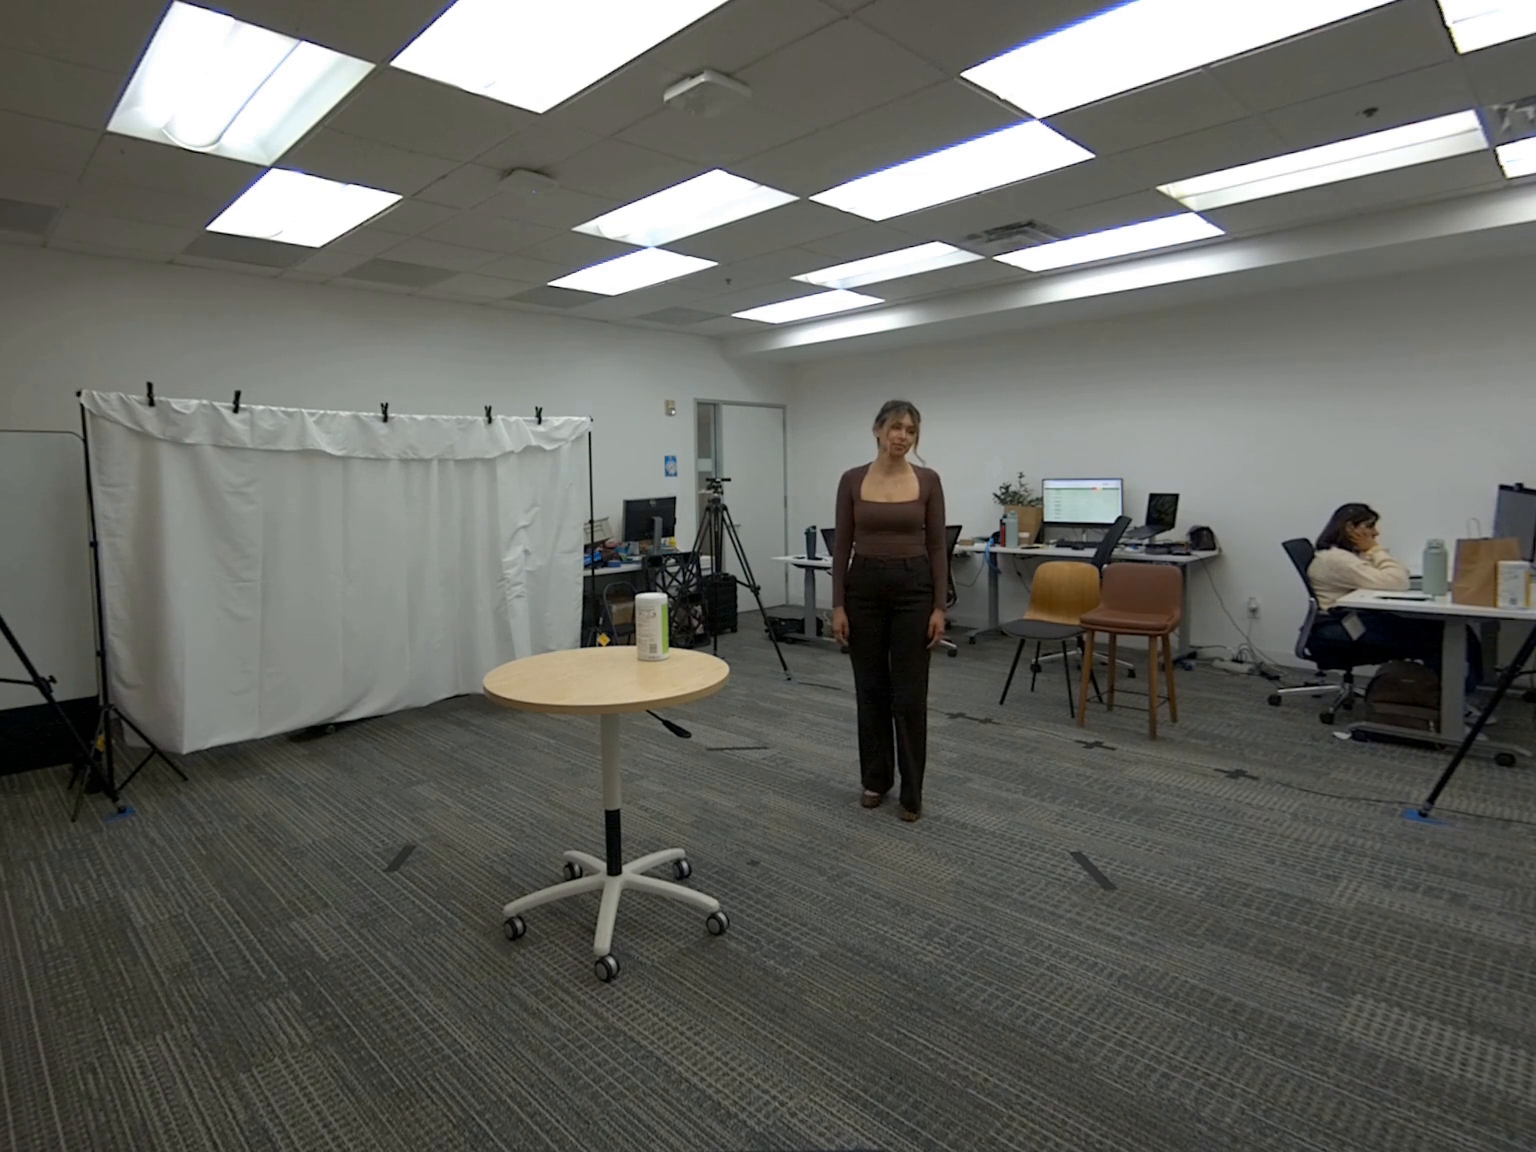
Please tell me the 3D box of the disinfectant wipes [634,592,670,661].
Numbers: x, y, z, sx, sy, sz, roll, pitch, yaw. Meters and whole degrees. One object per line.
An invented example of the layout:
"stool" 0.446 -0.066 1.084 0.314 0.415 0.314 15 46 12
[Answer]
"disinfectant wipes" -0.389 0.172 2.866 0.118 0.216 0.118 0 4 -2
